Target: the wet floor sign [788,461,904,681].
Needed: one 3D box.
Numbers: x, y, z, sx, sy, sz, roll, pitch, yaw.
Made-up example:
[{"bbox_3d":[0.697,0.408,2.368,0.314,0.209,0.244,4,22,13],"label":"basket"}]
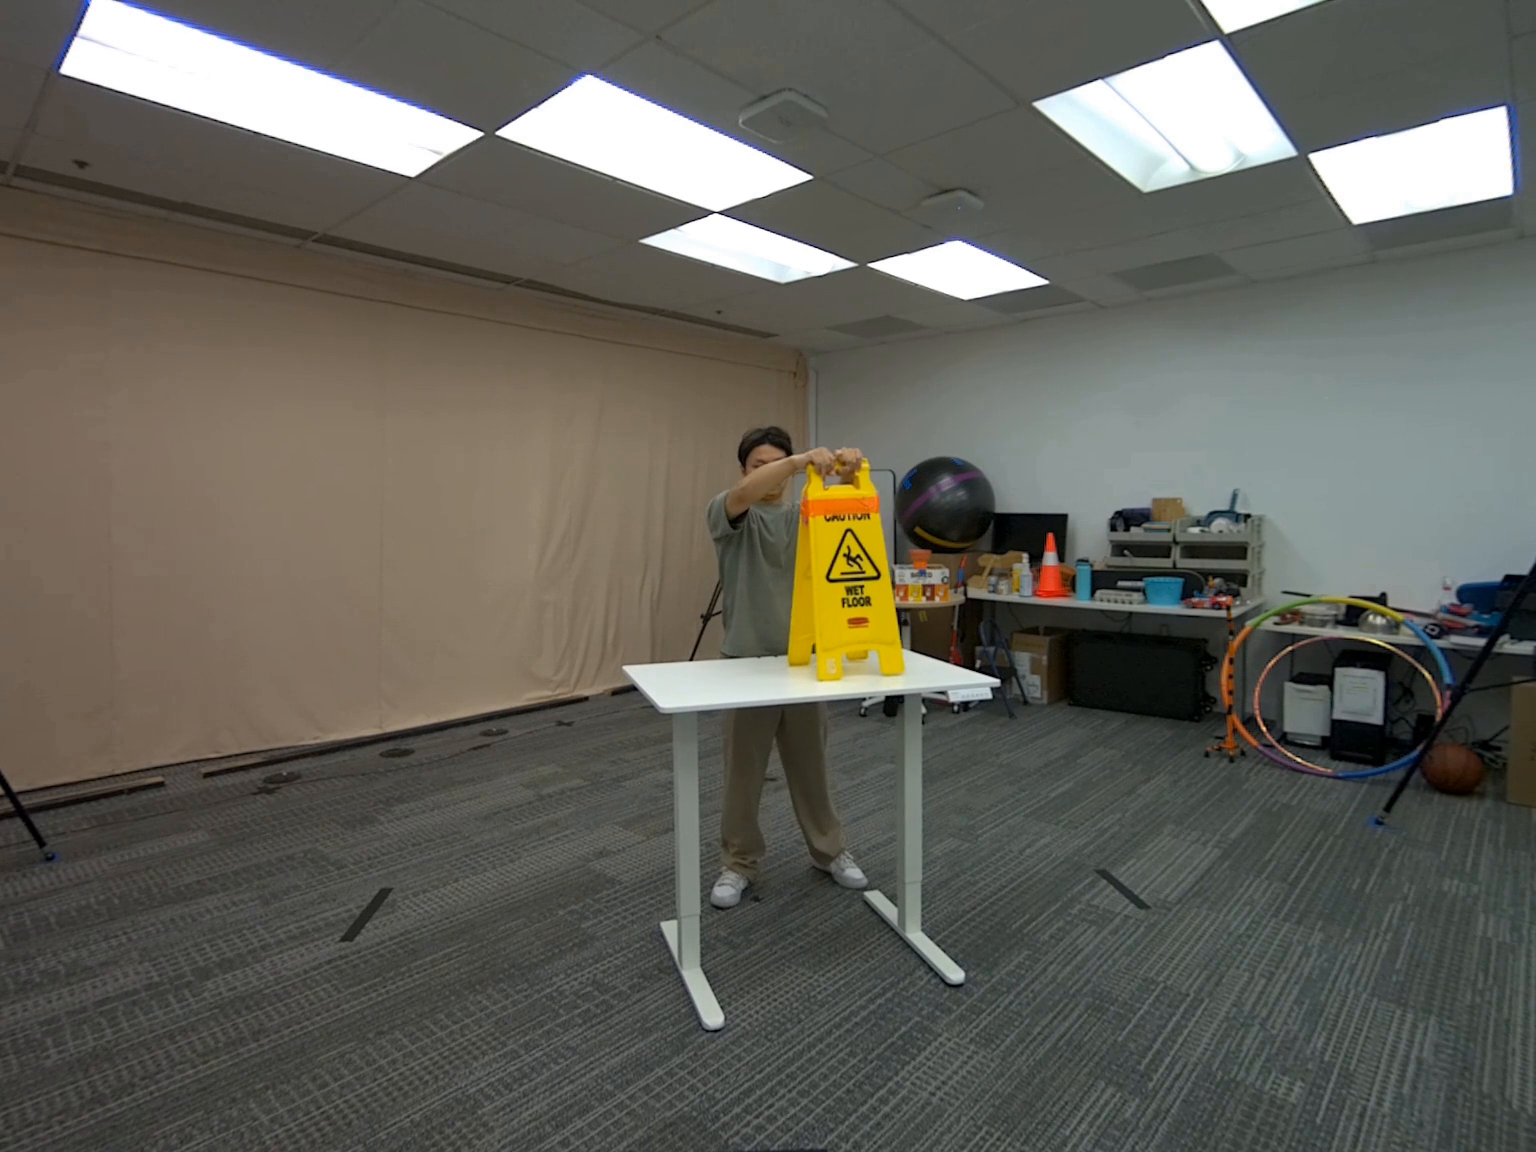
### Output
[{"bbox_3d":[0.225,-0.032,2.579,0.278,0.644,0.295,-3,4,-17],"label":"wet floor sign"}]
